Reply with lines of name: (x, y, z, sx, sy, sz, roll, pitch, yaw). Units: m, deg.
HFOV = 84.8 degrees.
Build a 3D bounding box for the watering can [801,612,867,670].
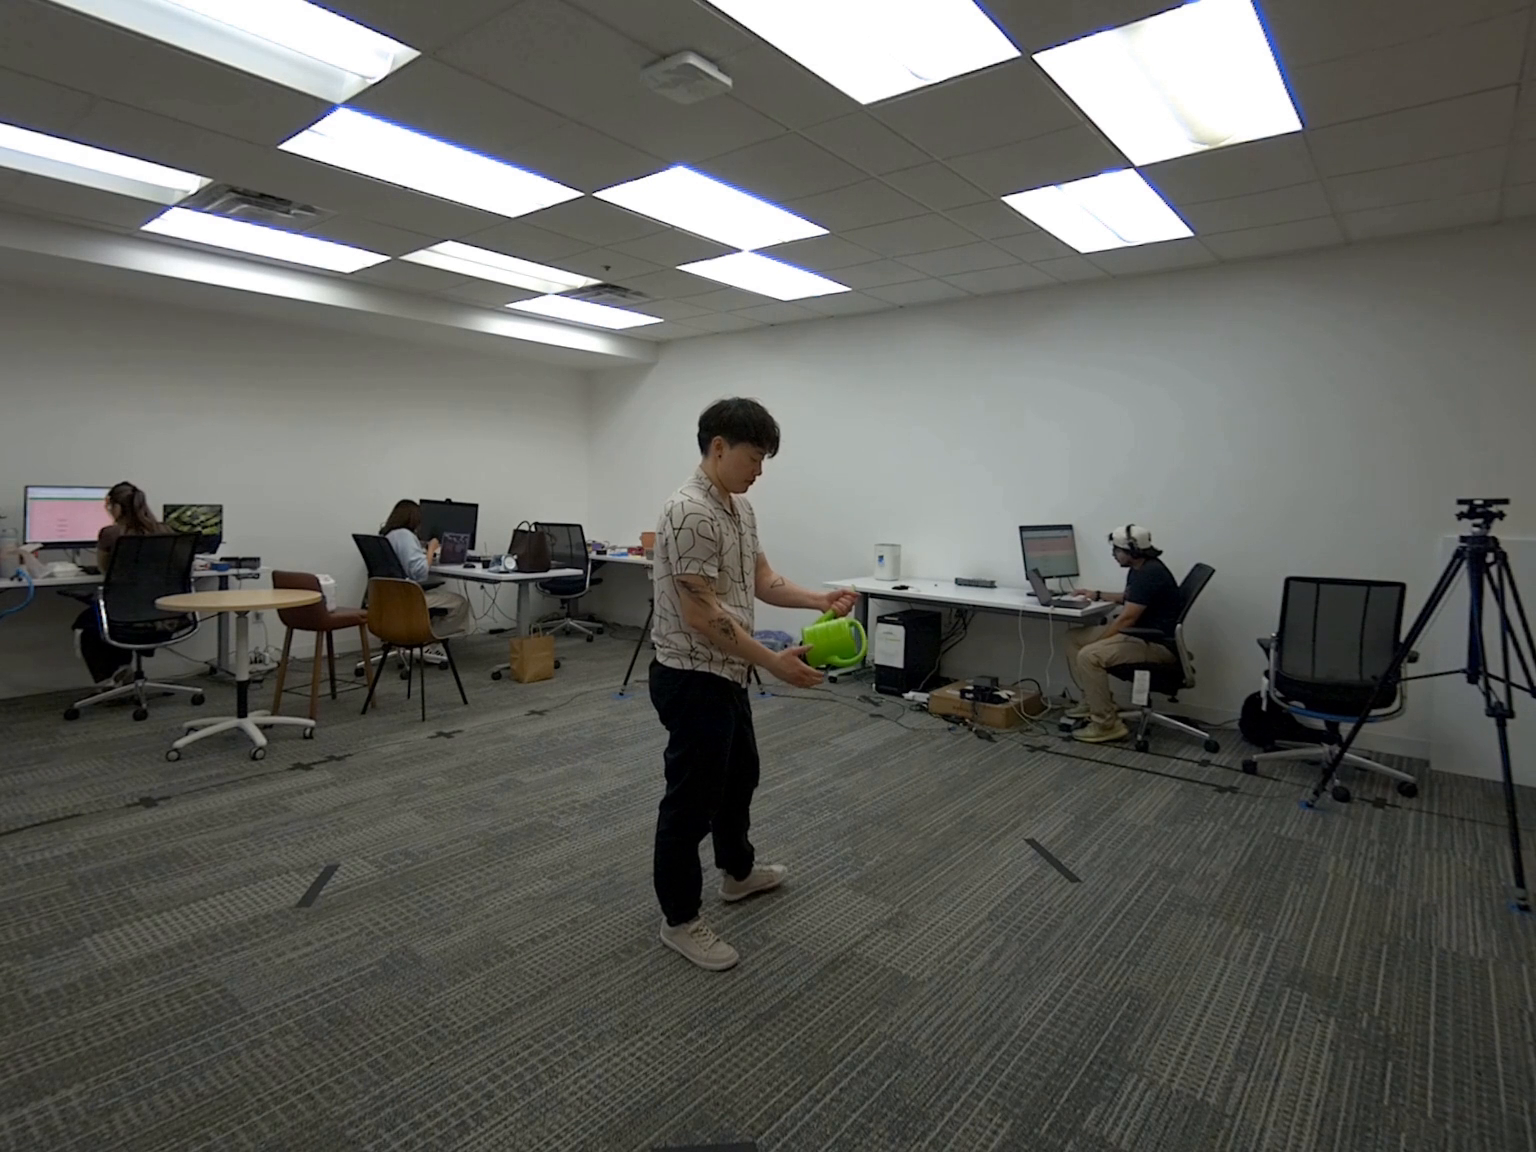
watering can: (0.187, 0.162, 2.442, 0.178, 0.094, 0.286, -16, 34, 8)
